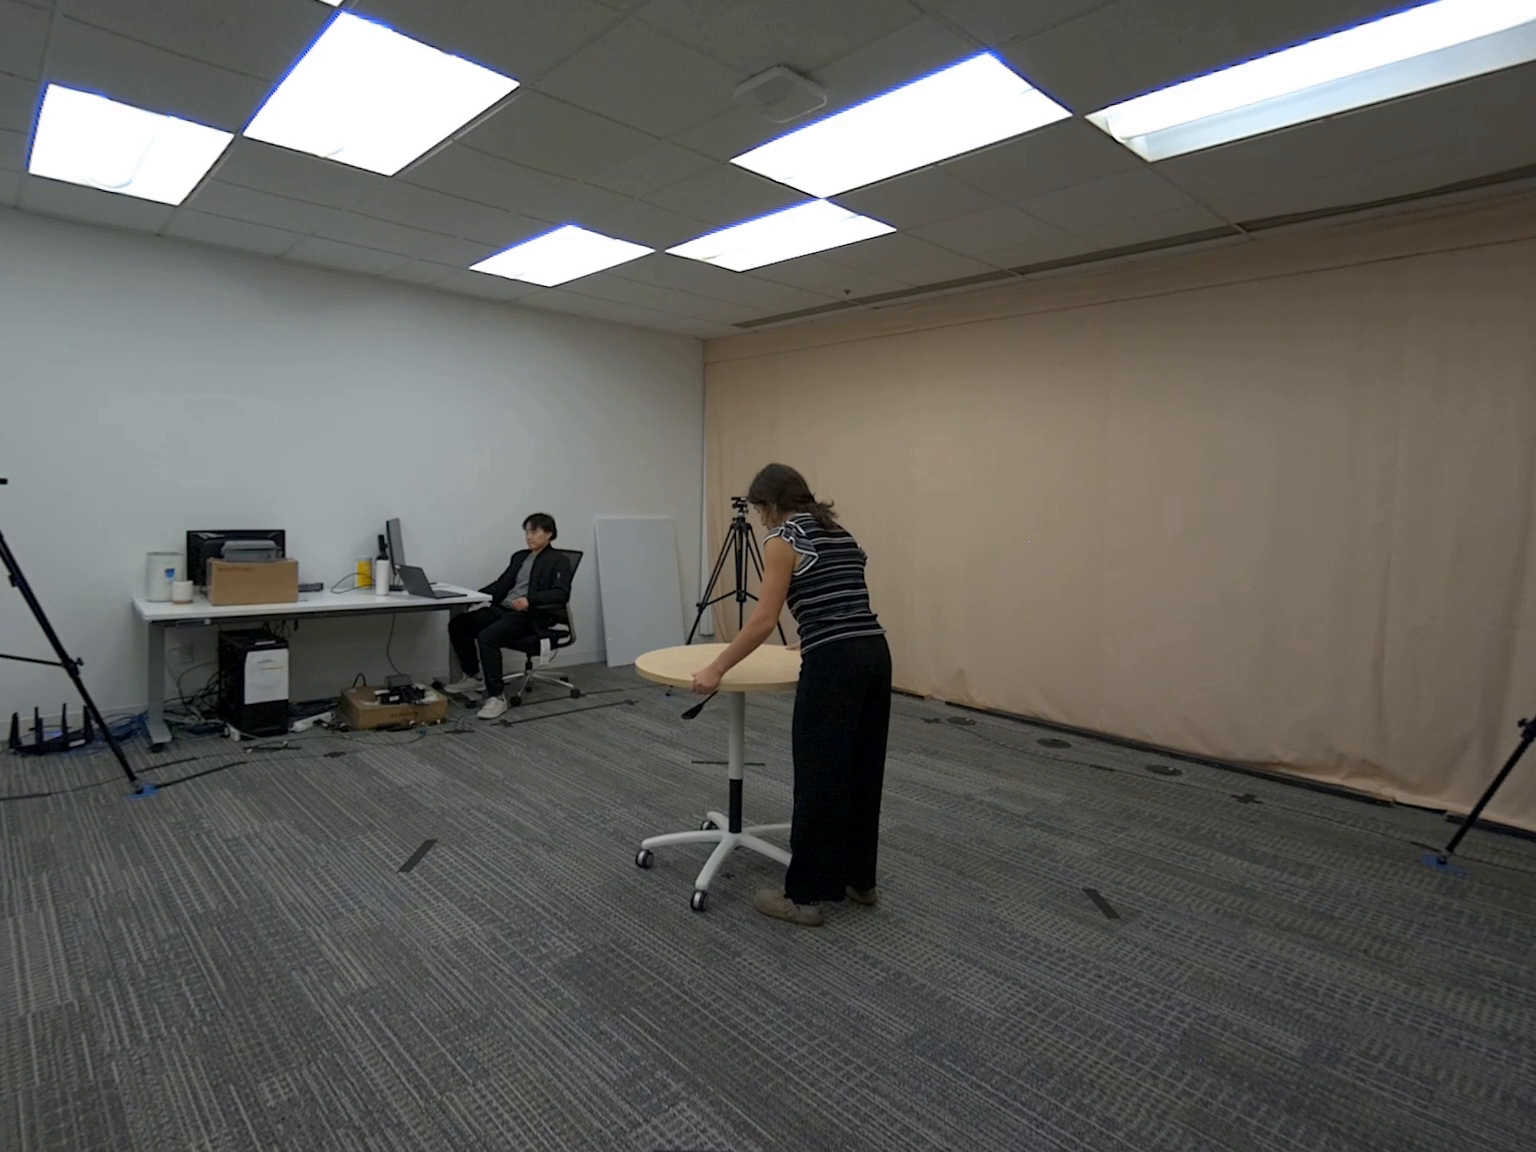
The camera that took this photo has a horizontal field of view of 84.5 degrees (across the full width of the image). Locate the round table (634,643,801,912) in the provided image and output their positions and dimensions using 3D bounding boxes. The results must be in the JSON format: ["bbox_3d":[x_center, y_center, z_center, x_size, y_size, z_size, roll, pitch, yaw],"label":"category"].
[{"bbox_3d":[-0.127,0.712,3.160,0.763,0.792,0.766,1,4,-1],"label":"round table"}]
